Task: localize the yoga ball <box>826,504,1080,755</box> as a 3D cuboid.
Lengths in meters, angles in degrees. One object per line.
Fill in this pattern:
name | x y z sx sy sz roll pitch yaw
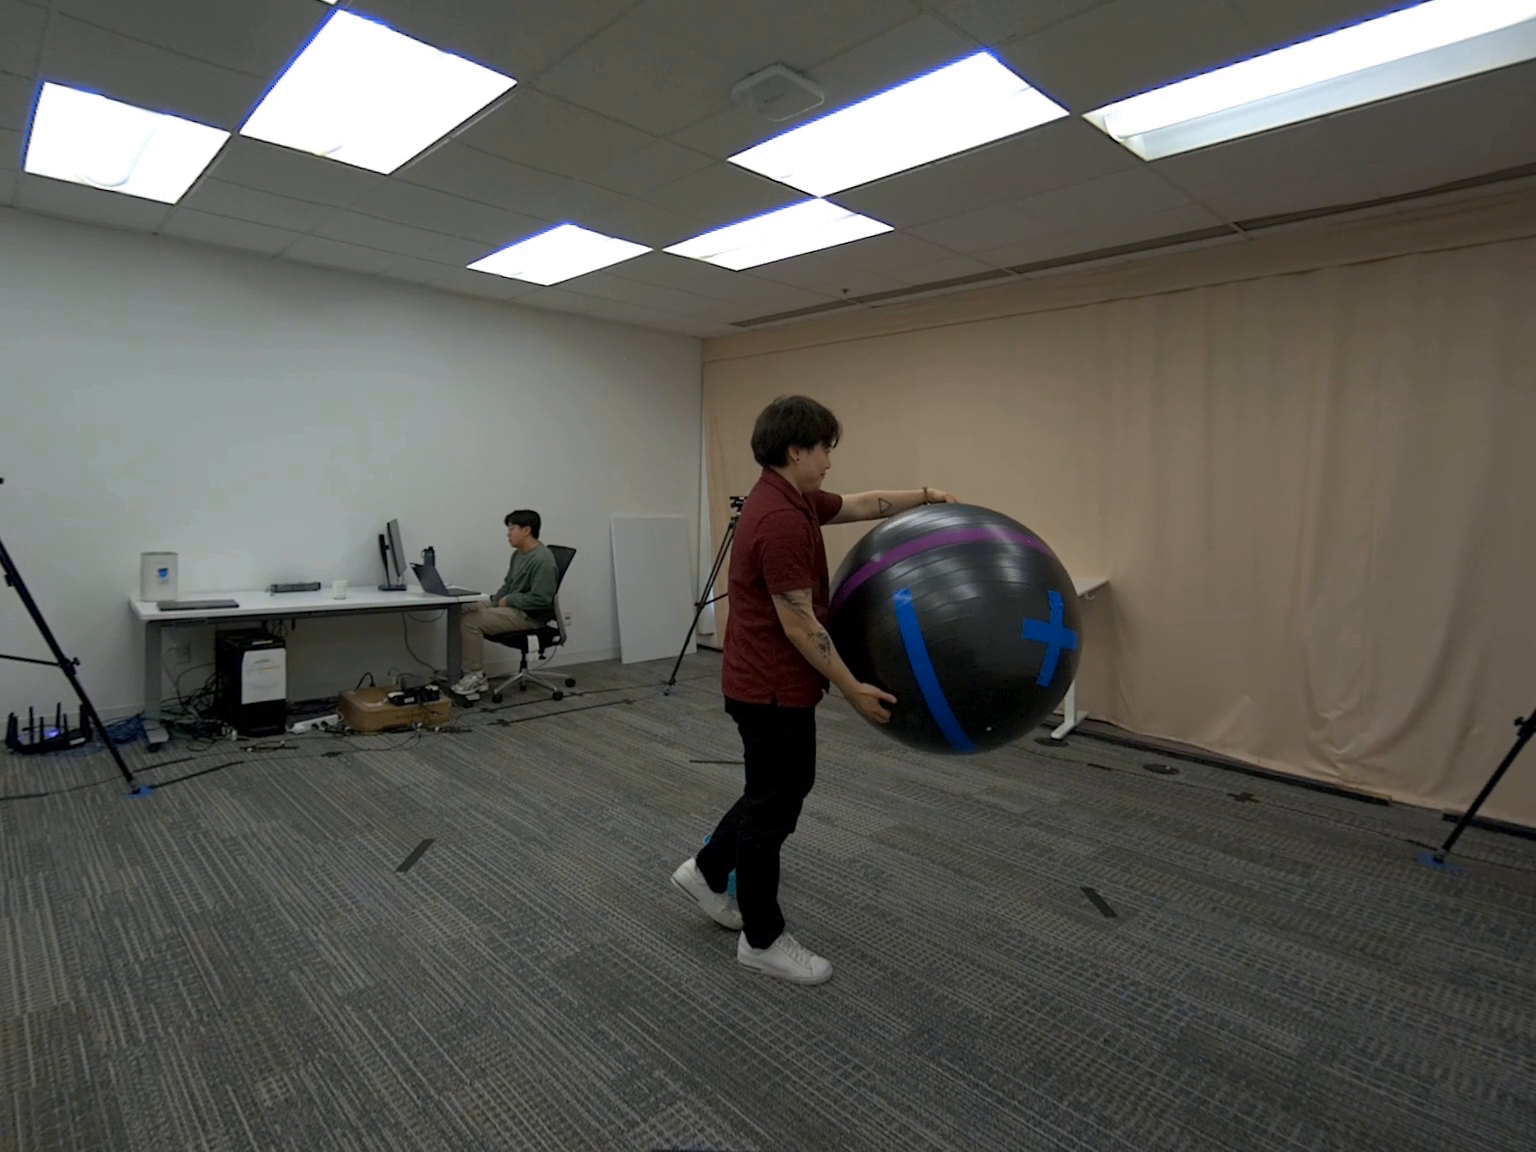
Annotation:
yoga ball | 0.551 0.161 2.555 0.757 0.756 0.761 1 4 -1
